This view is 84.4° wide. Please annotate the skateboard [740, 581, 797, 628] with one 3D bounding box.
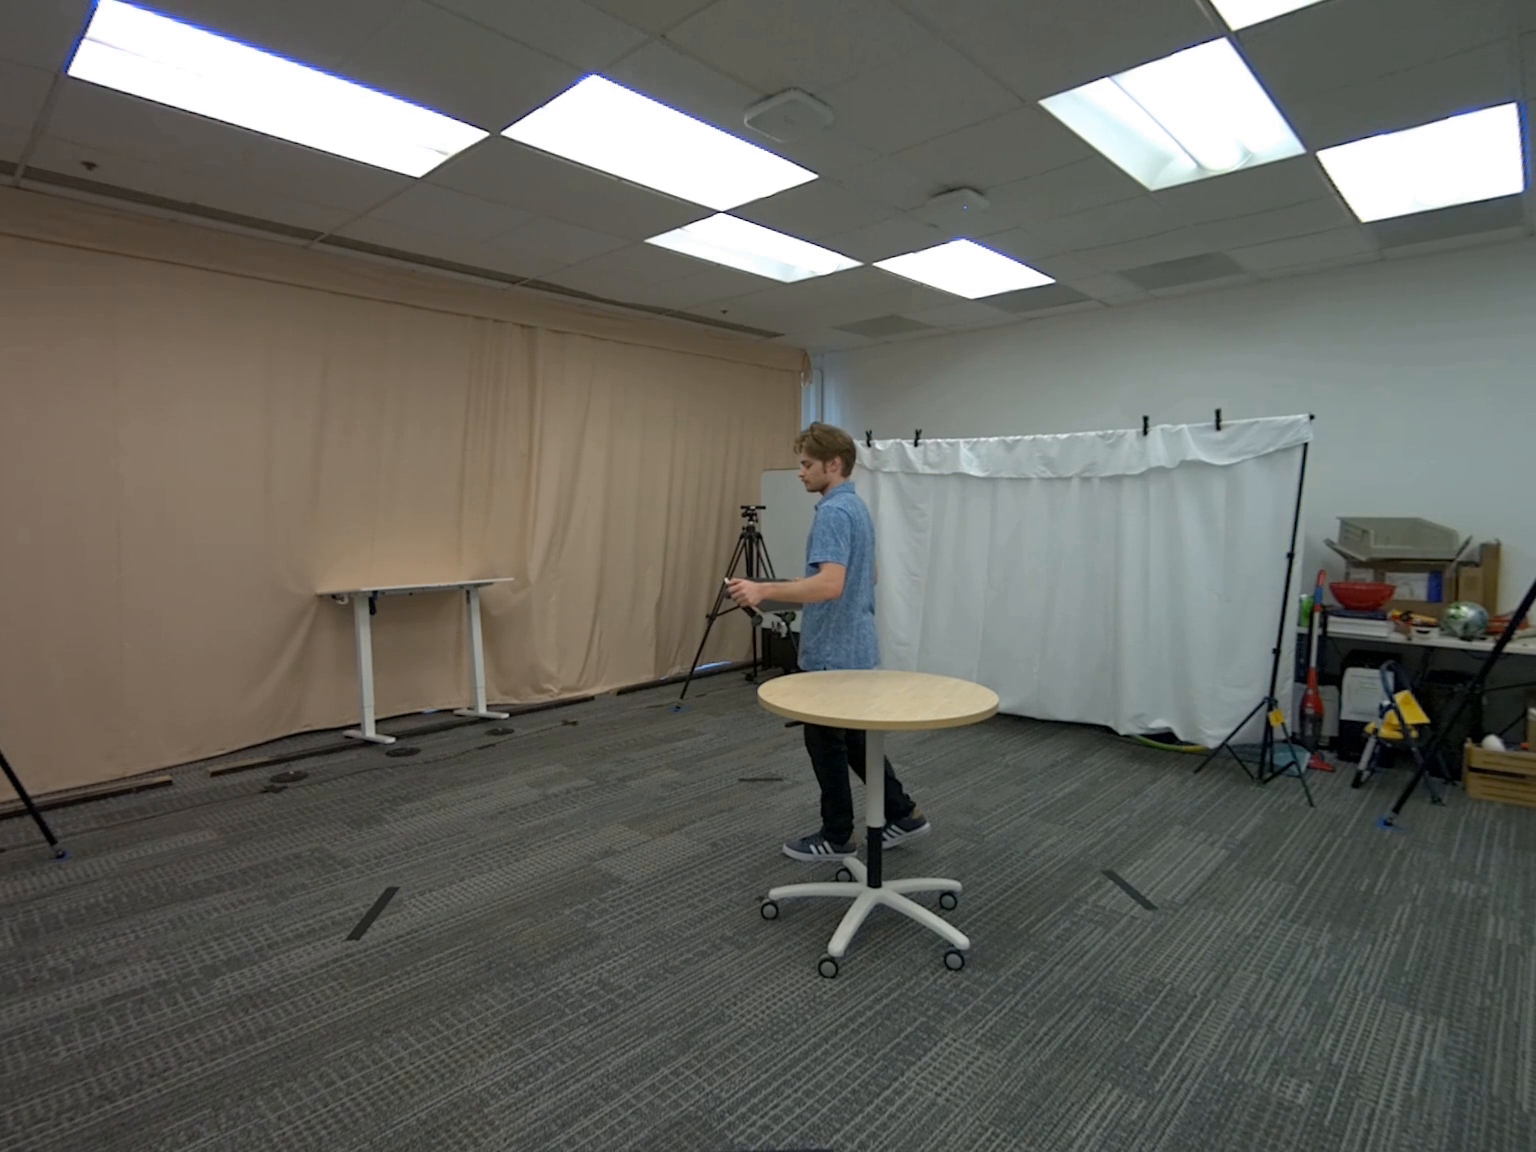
[{"bbox_3d":[0.005,0.106,3.377,0.197,0.110,0.768,41,12,15],"label":"skateboard"}]
